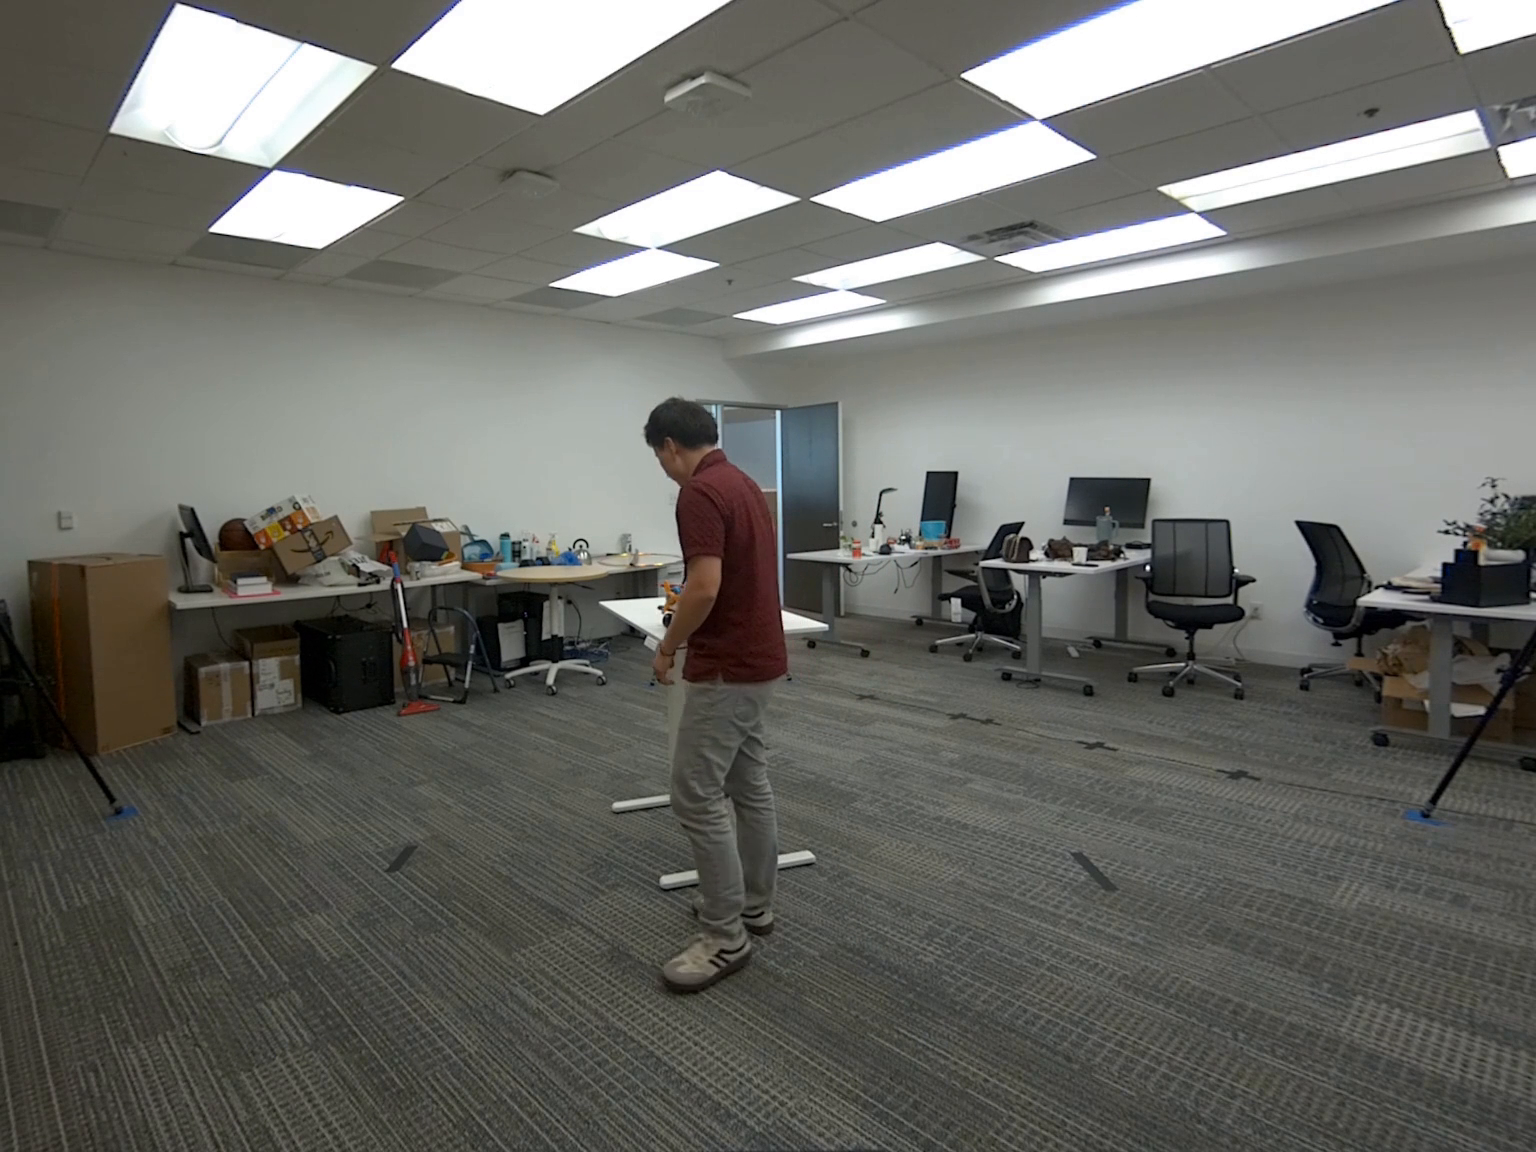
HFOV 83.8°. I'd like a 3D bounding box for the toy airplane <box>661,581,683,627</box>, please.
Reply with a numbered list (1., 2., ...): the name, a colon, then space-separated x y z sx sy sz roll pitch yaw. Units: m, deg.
1. toy airplane: -0.264 0.099 2.993 0.255 0.155 0.257 0 8 15
